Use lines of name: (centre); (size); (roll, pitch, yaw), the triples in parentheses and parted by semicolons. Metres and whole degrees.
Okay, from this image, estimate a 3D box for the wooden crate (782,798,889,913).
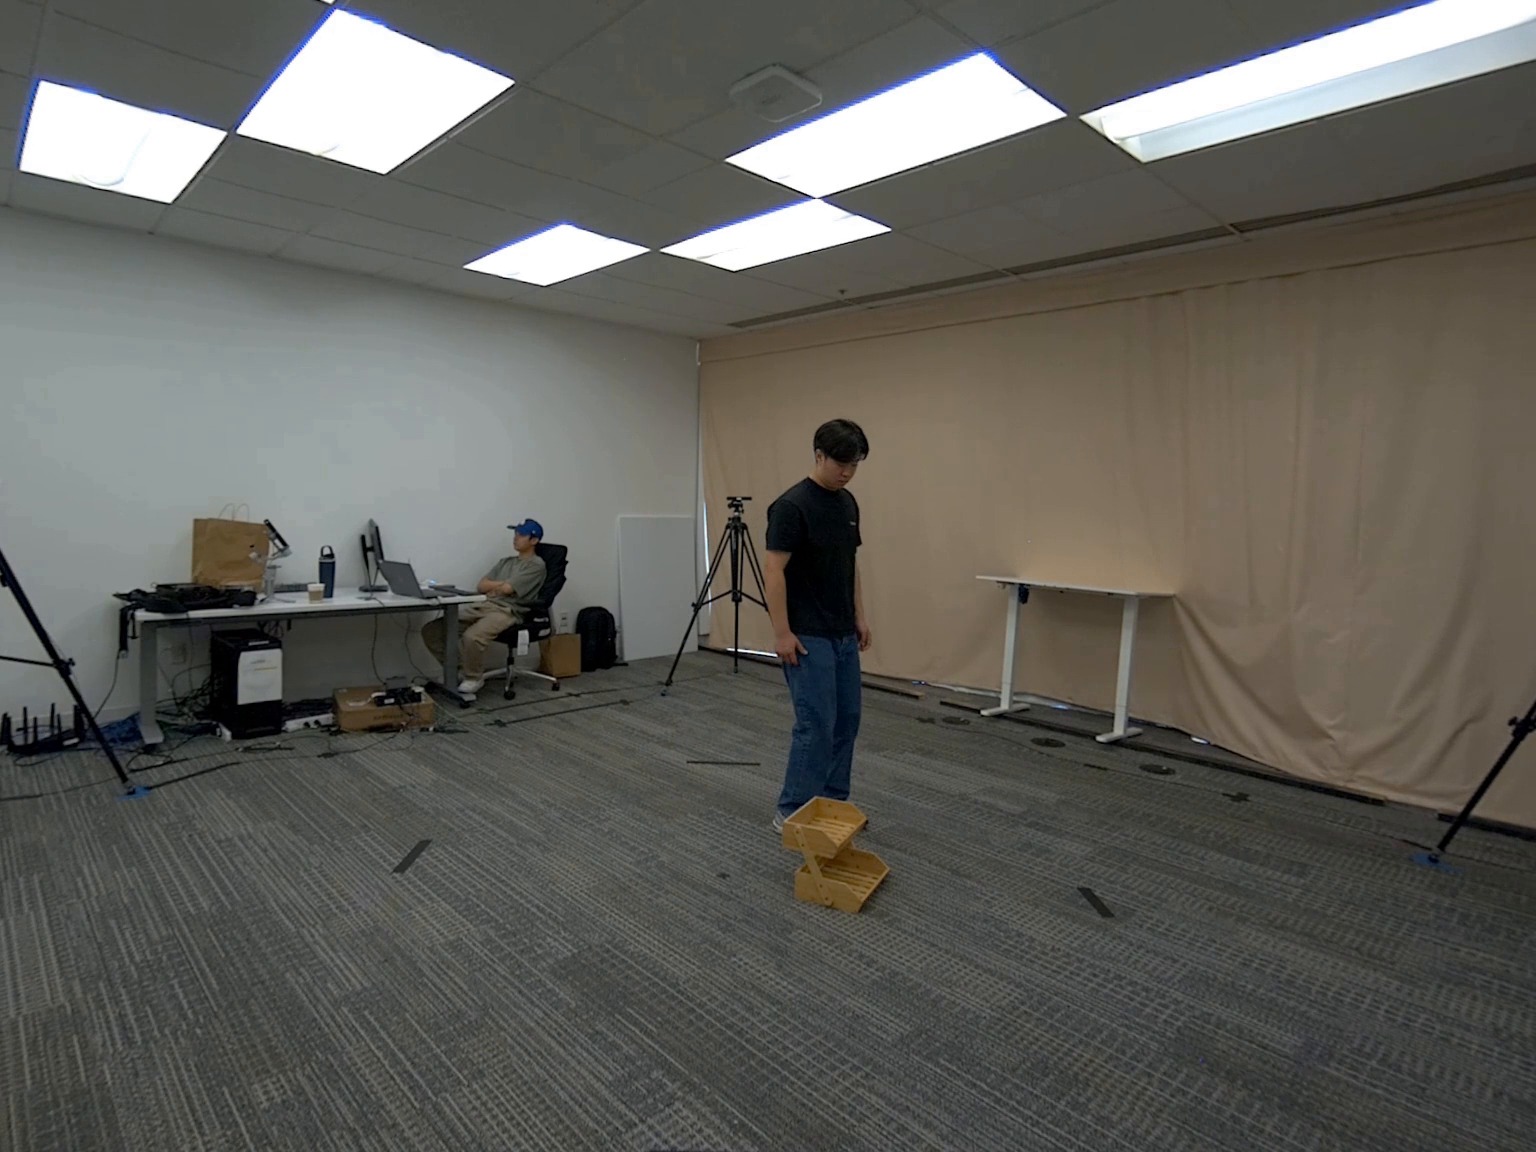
wooden crate: (0.246, 0.991, 3.021); (0.308, 0.273, 0.319); (3, 4, 27)
